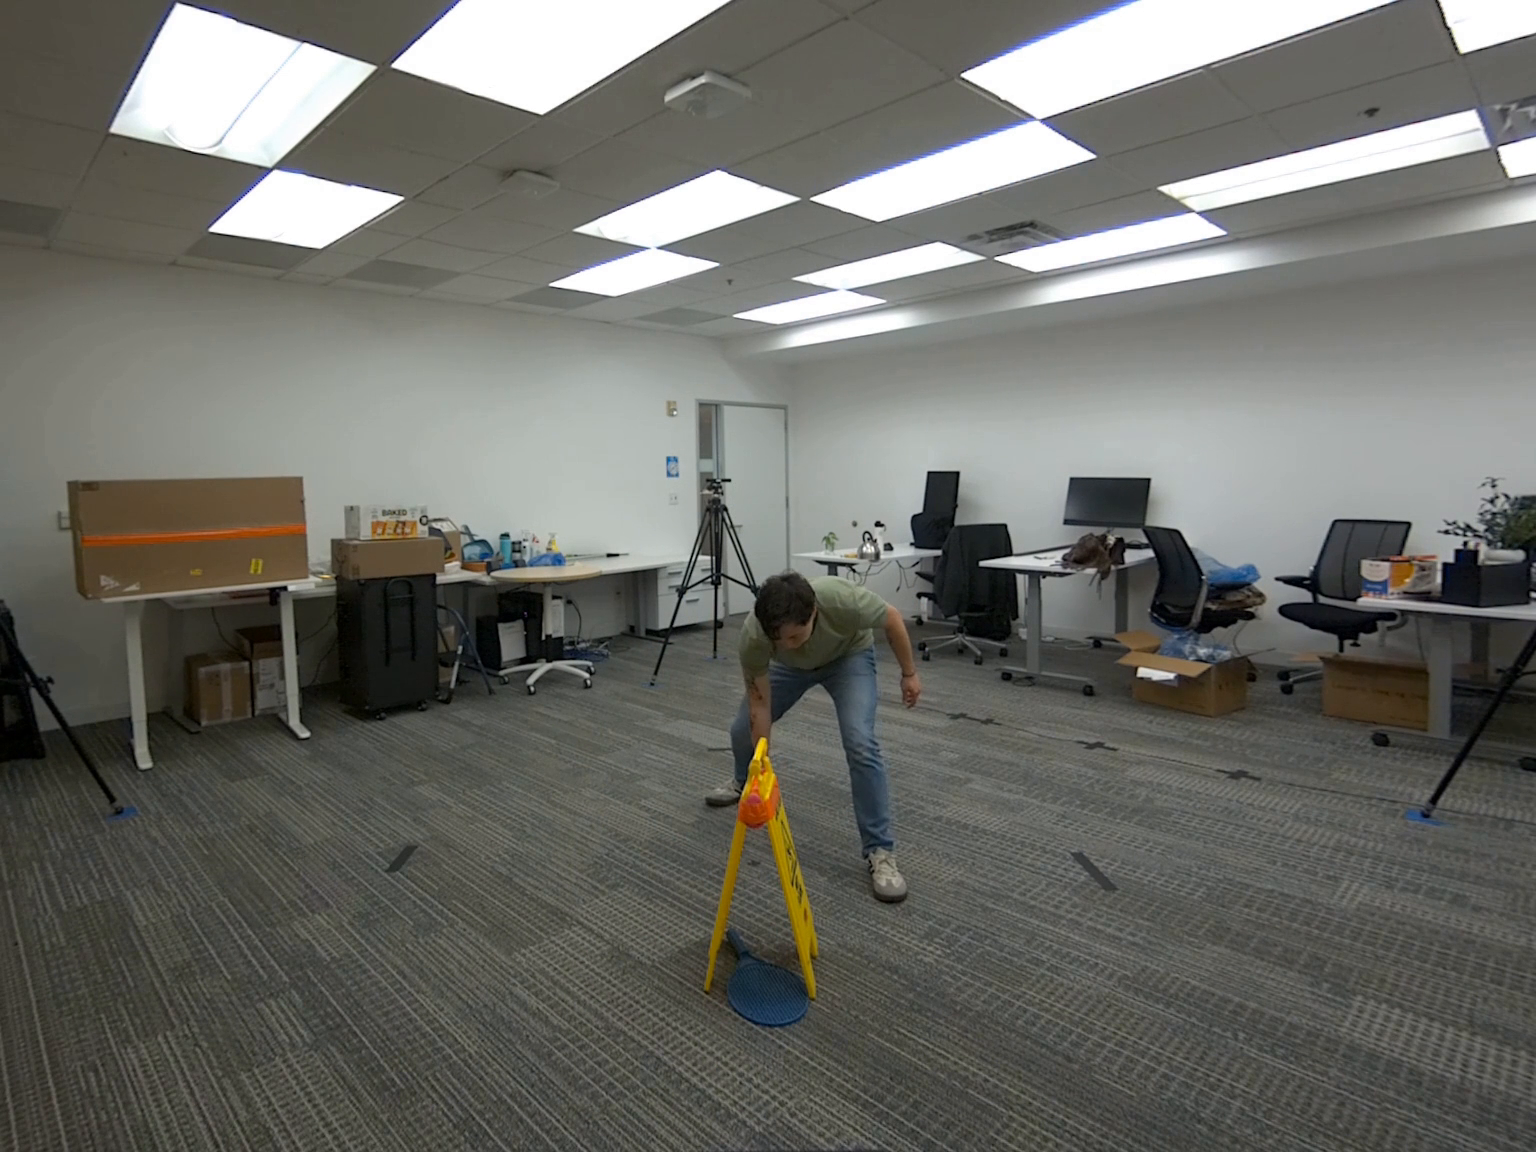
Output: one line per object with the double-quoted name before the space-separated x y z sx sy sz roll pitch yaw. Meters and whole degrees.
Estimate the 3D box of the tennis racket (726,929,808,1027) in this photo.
"tennis racket" -0.031 1.123 2.388 0.210 0.031 0.443 -4 8 -22
